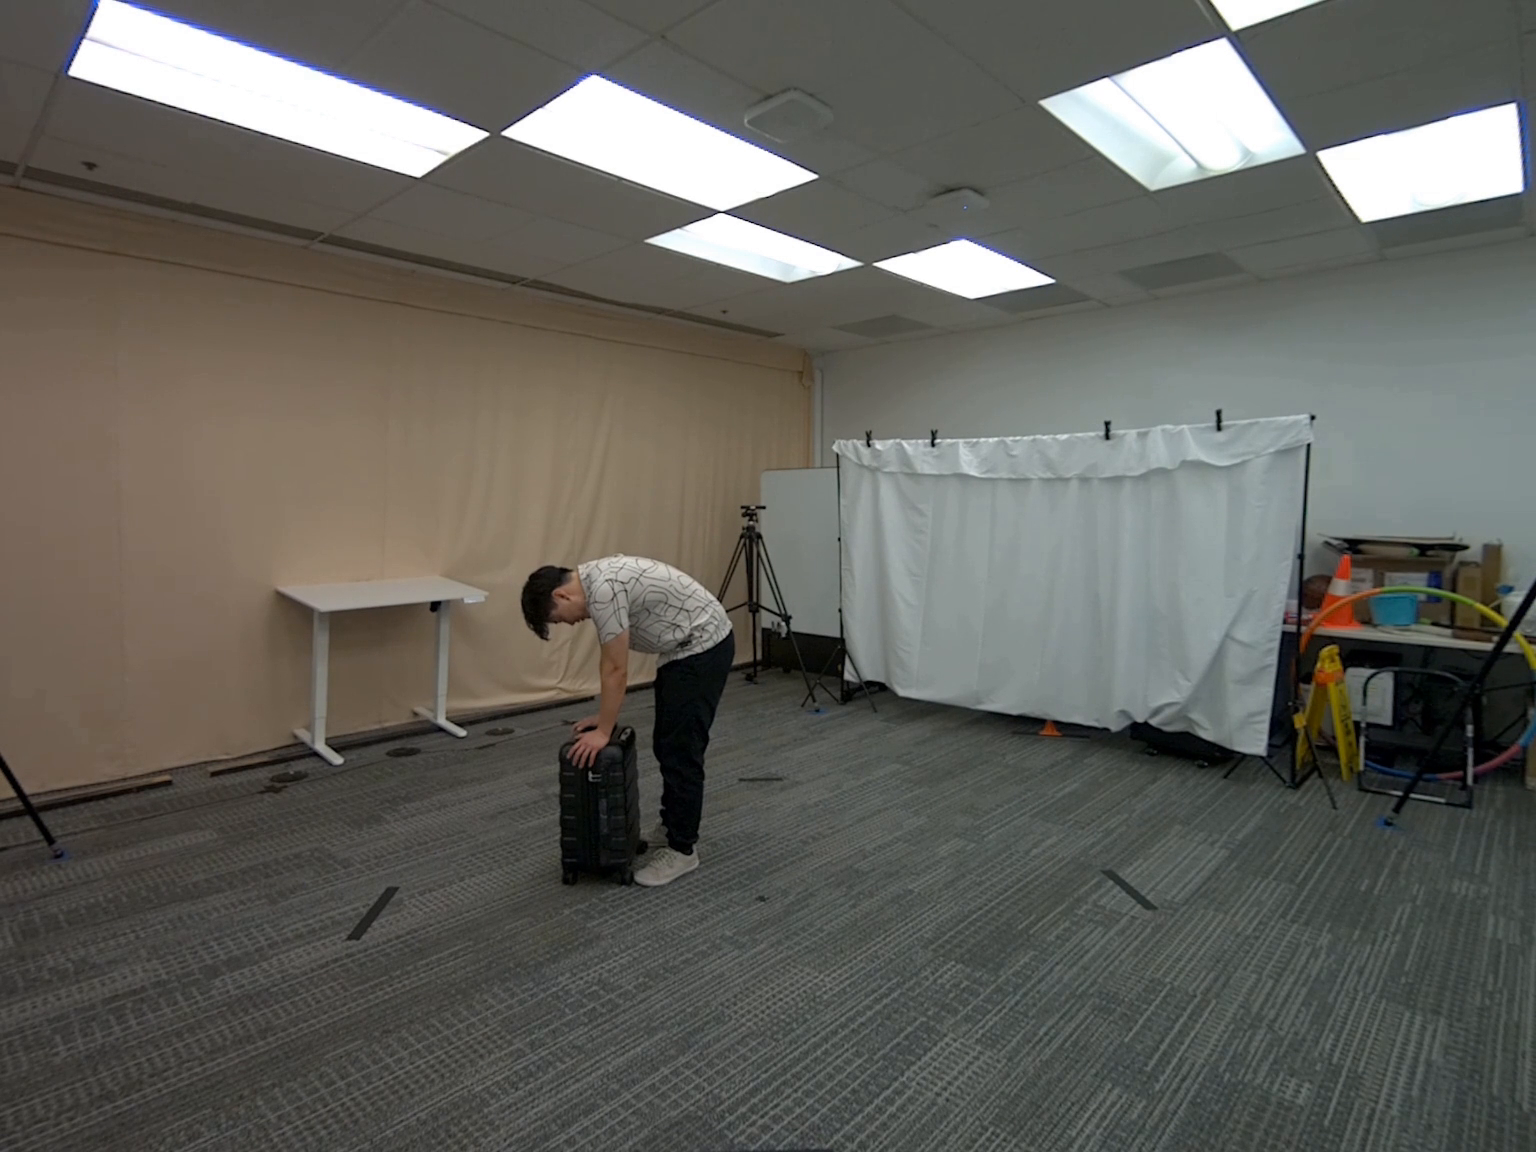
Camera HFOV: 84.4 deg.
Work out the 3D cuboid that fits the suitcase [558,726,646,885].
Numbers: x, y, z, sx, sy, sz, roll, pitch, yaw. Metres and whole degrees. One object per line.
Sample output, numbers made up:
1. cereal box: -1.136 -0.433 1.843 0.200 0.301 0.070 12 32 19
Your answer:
1. suitcase: -0.646 0.857 3.224 0.249 0.548 0.375 -3 4 2
